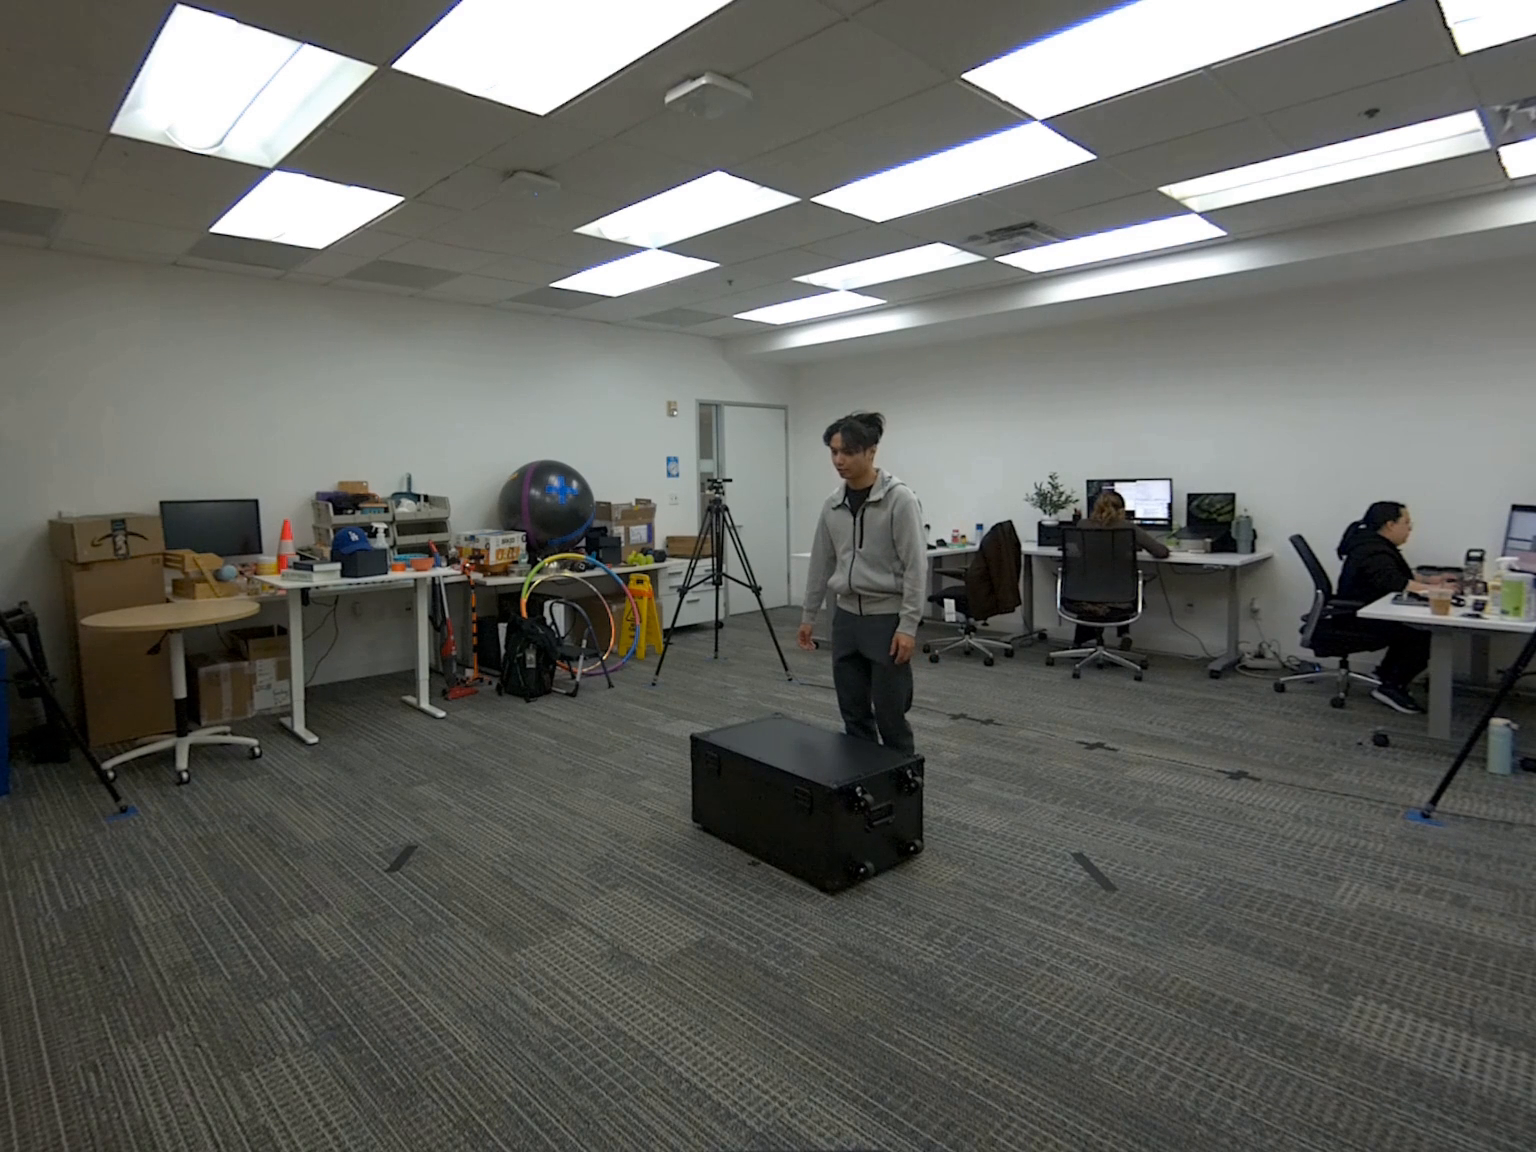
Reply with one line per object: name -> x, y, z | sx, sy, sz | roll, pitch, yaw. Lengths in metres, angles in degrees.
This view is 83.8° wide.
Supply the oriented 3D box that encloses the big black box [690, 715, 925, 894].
big black box -> 0.149, 0.836, 3.247 | 0.507, 0.395, 0.888 | -5, 7, -41
